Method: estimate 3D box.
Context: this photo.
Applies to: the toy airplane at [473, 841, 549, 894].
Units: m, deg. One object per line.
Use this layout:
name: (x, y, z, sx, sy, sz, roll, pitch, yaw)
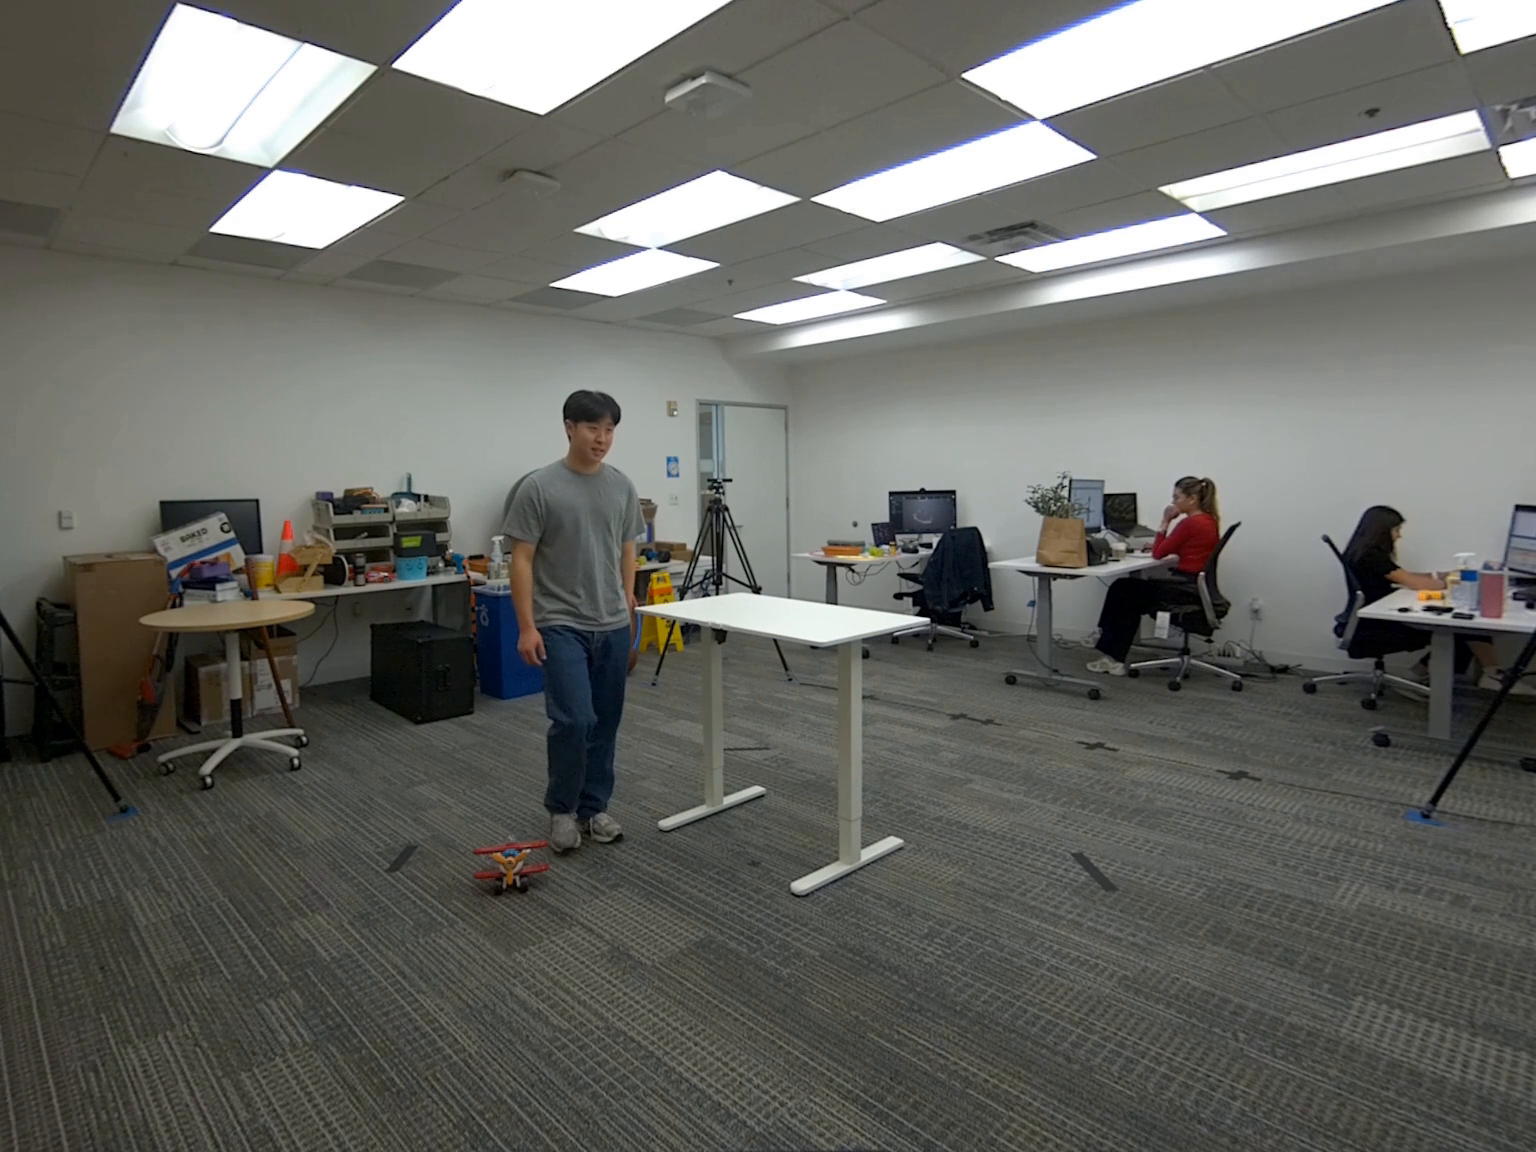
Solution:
toy airplane: (-0.925, 1.007, 2.997, 0.244, 0.156, 0.267, -6, 8, -41)
